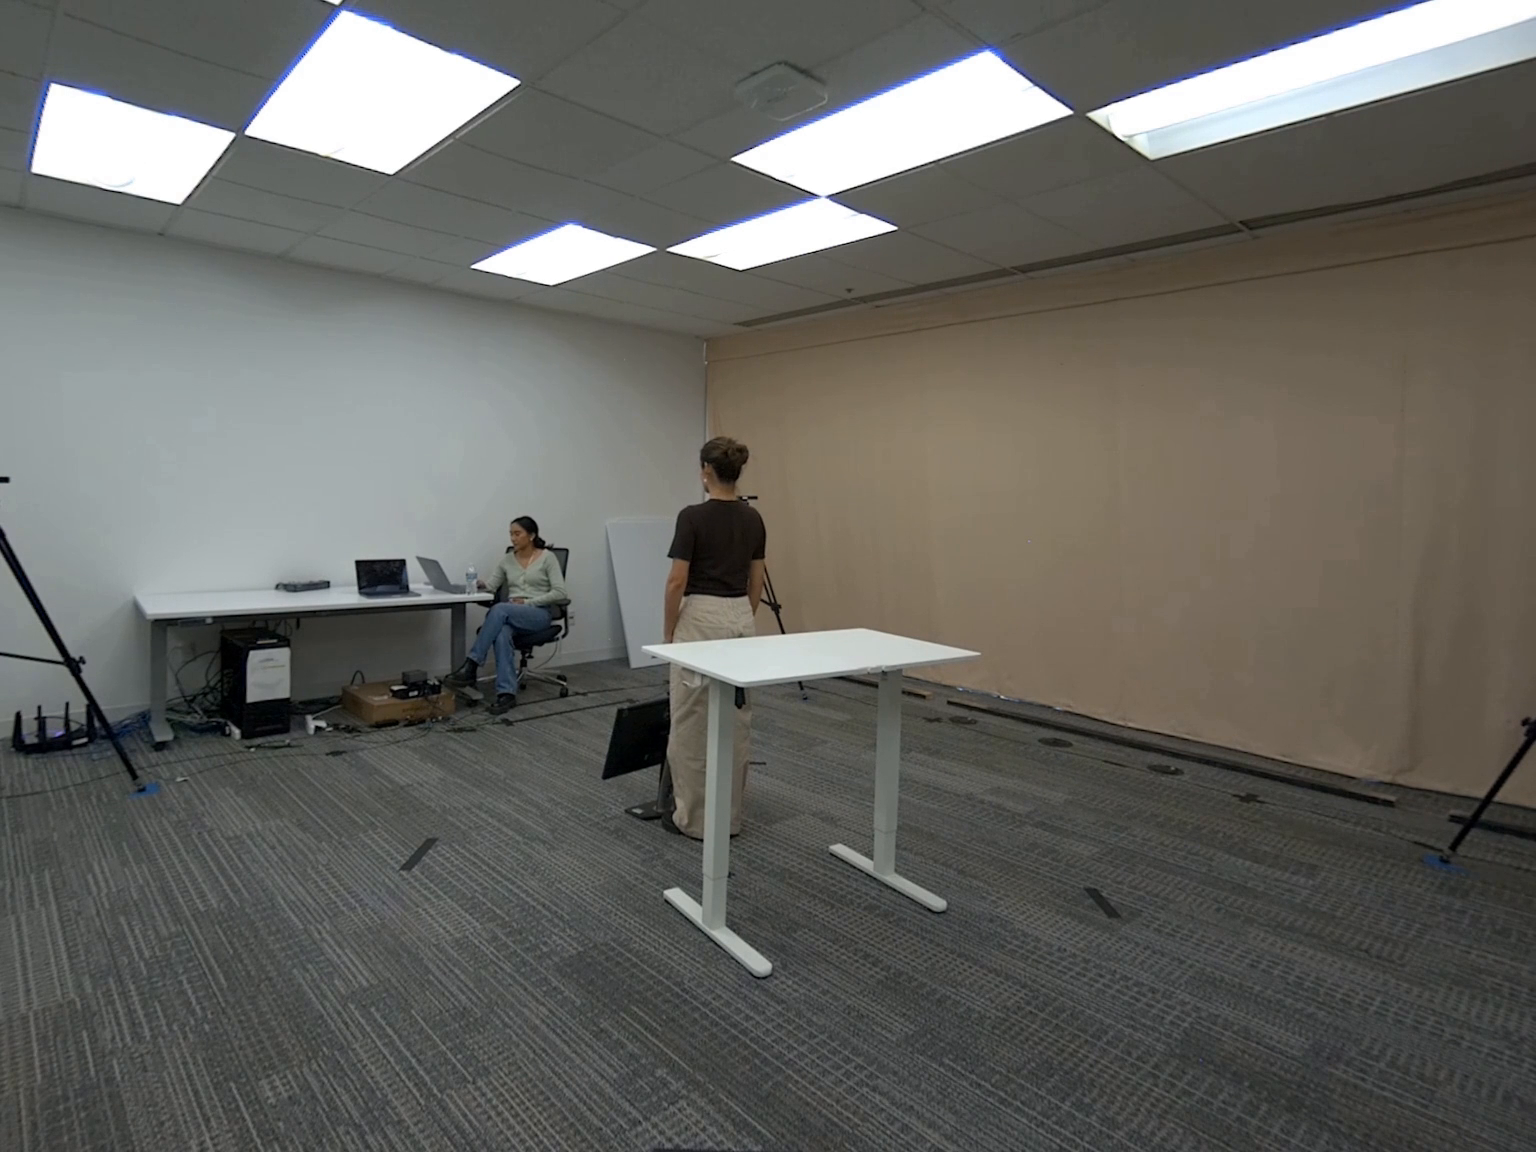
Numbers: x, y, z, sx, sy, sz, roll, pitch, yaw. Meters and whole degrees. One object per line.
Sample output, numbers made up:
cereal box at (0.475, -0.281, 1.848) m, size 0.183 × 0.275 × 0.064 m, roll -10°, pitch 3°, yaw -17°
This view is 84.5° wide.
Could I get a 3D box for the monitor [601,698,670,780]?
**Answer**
monitor at (-0.471, 0.787, 3.714) m, size 0.192 × 0.520 × 0.527 m, roll 8°, pitch 8°, yaw 41°
